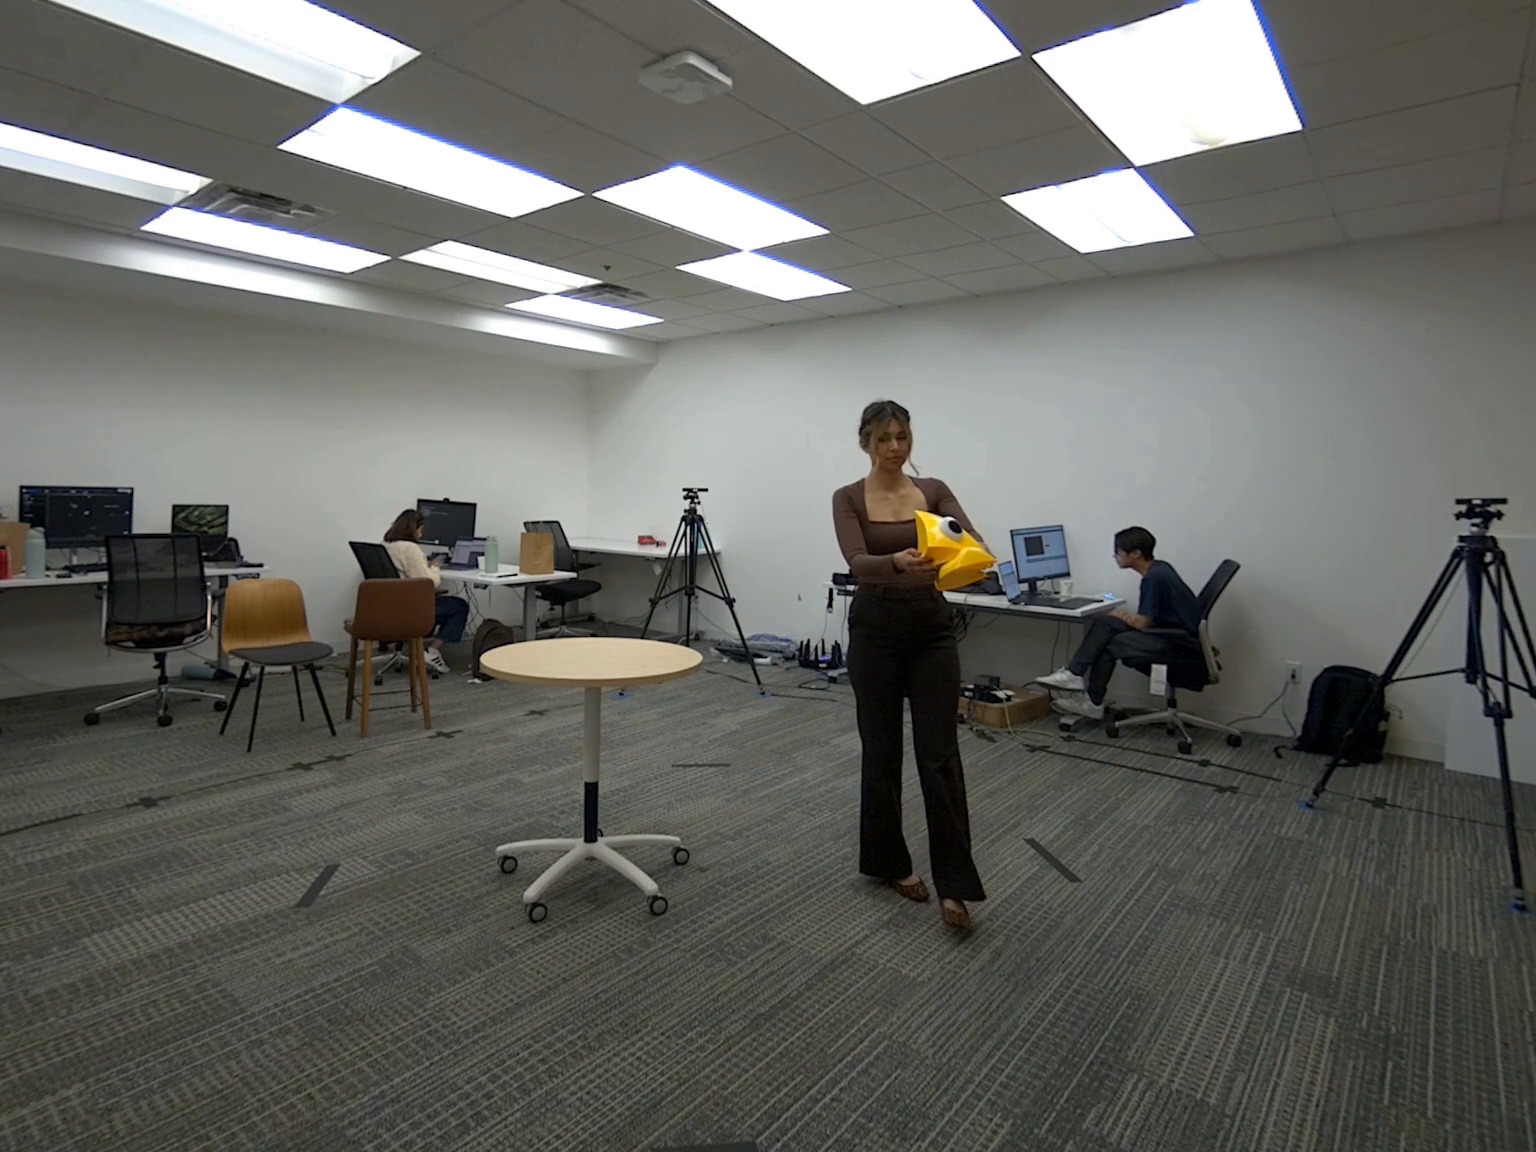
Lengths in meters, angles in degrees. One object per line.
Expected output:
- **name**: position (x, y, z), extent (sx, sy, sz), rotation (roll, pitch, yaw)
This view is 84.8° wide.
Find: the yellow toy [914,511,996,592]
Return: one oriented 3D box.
- **yellow toy**: position (0.517, -0.106, 2.476), extent (0.192, 0.236, 0.200), rotation (-14, -21, -5)
